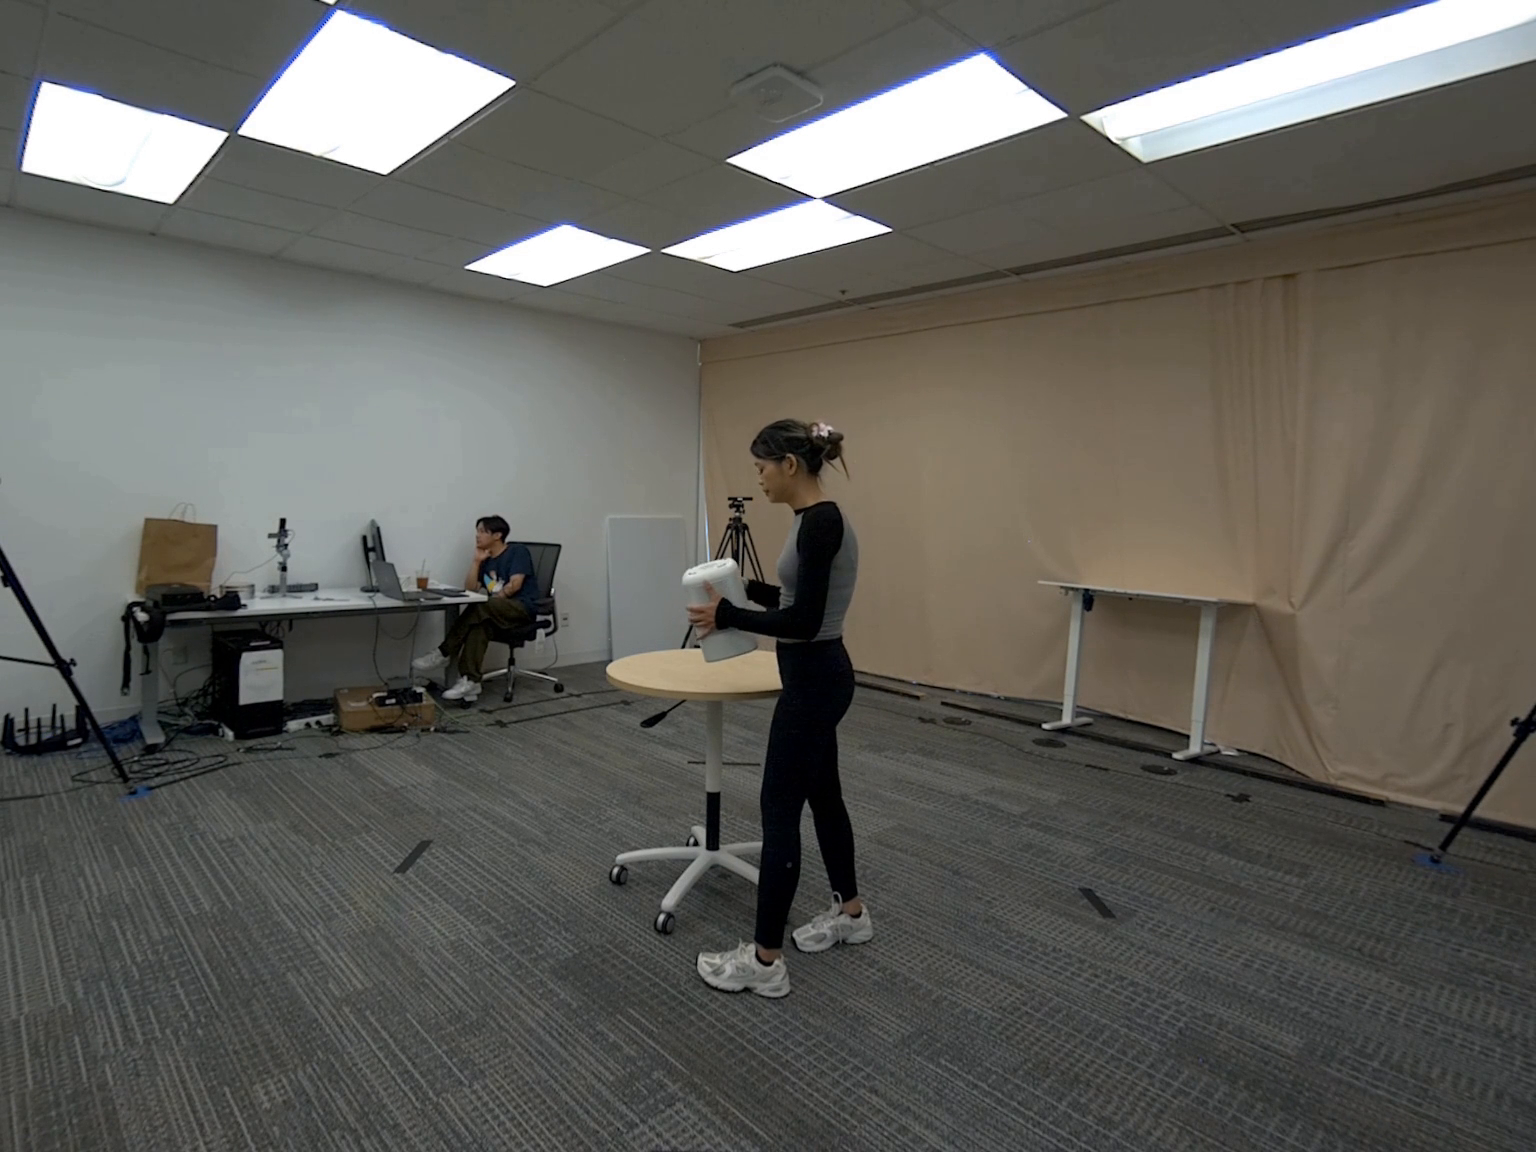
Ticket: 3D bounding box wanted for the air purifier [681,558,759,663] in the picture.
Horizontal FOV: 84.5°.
[{"bbox_3d":[-0.144,0.098,2.501,0.172,0.263,0.172,-14,8,5],"label":"air purifier"}]
